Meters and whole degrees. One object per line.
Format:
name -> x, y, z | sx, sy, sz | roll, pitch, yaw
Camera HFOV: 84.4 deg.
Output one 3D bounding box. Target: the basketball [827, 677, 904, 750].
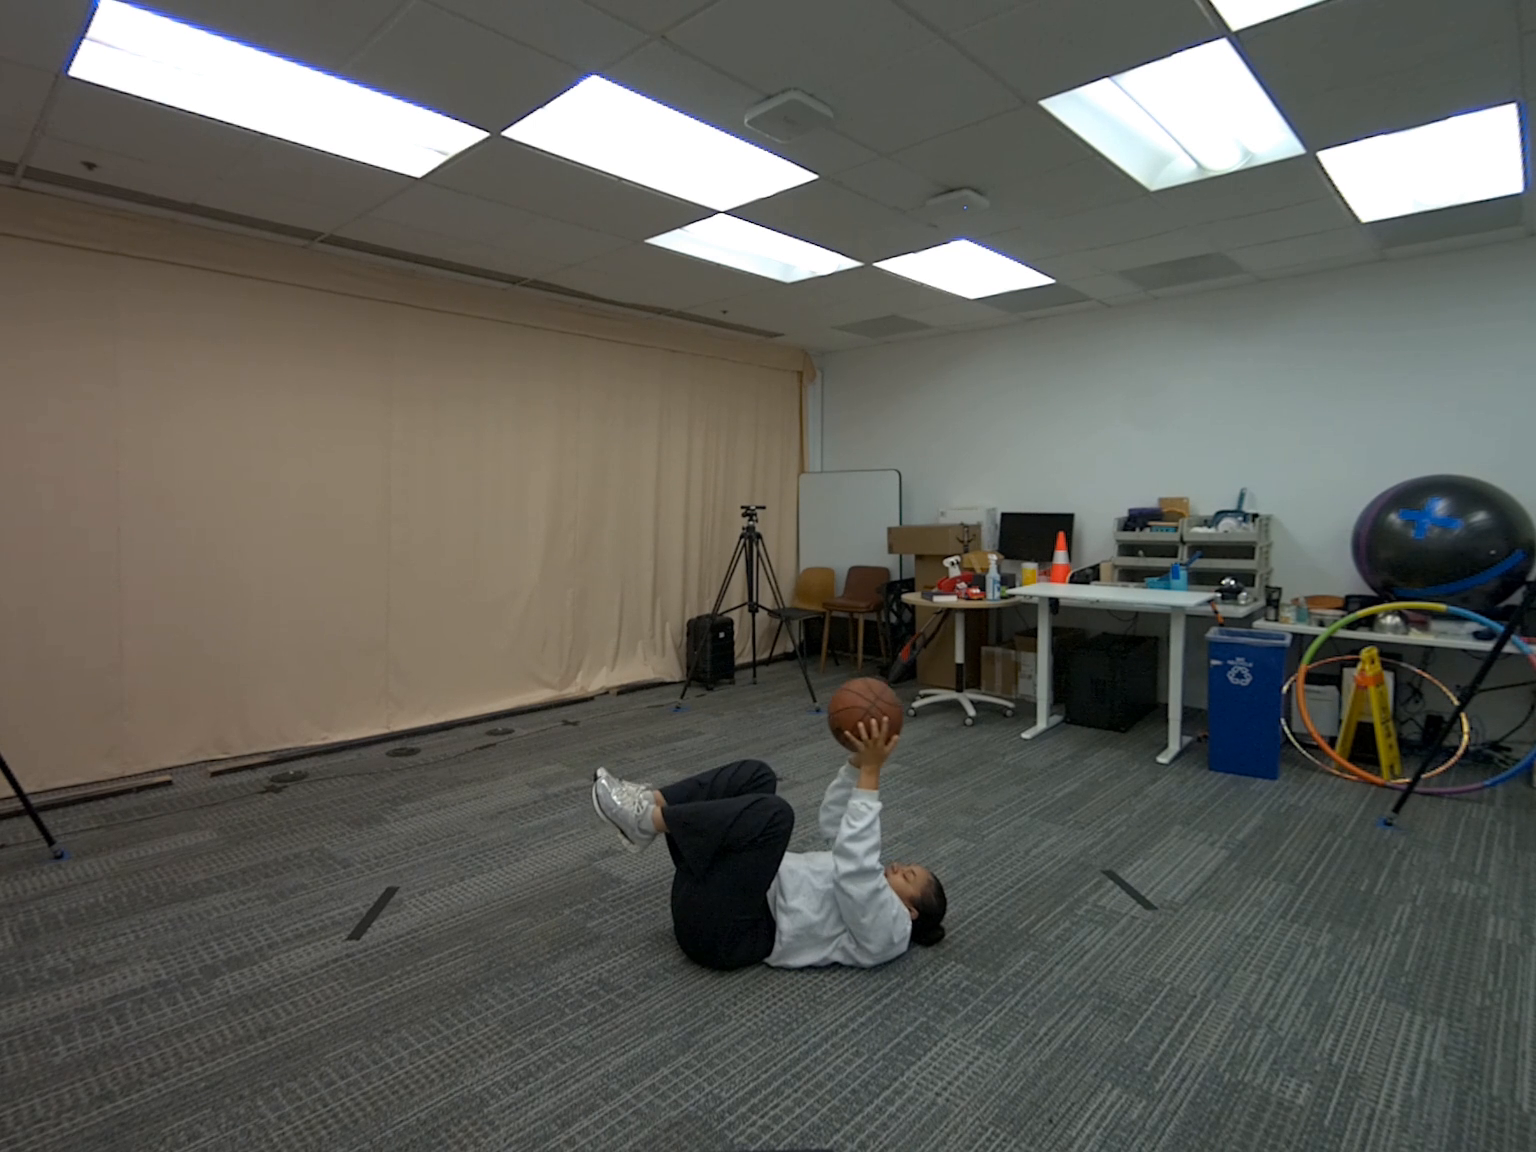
basketball -> 0.313, 0.456, 2.664 | 0.236, 0.235, 0.237 | 0, 4, -2
